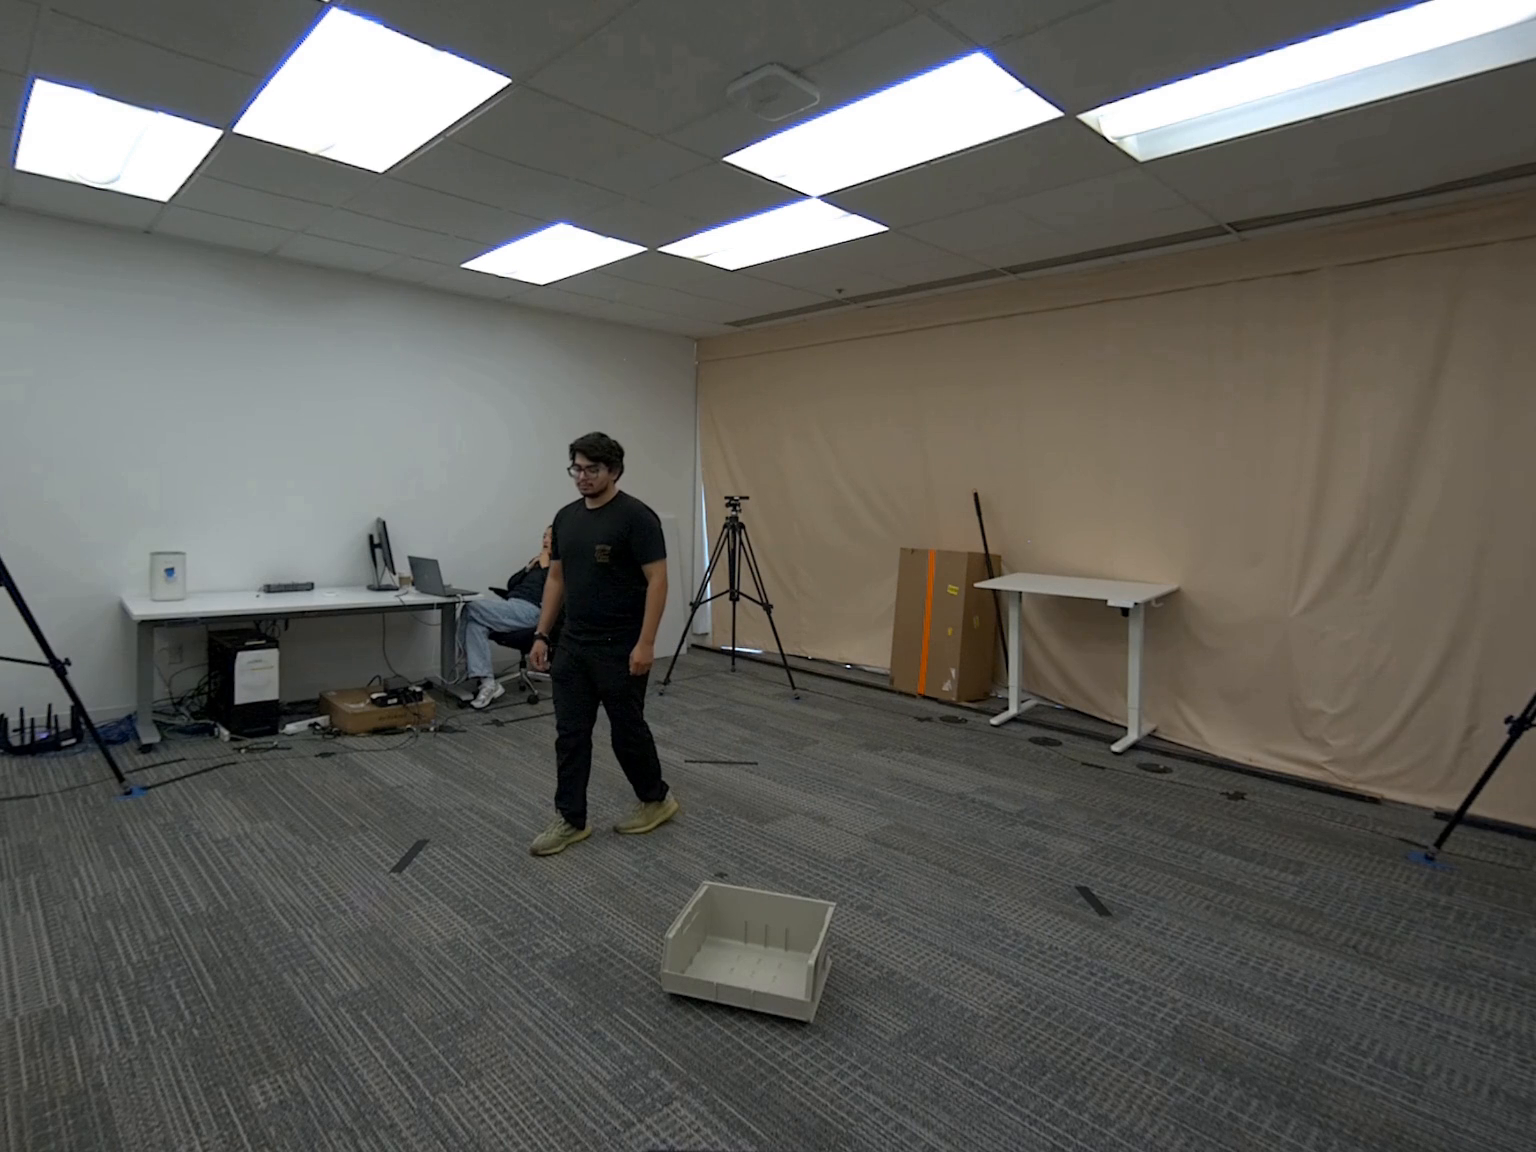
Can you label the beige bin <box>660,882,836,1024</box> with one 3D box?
[{"bbox_3d":[-0.049,1.083,2.416,0.428,0.188,0.373,2,4,15],"label":"beige bin"}]
